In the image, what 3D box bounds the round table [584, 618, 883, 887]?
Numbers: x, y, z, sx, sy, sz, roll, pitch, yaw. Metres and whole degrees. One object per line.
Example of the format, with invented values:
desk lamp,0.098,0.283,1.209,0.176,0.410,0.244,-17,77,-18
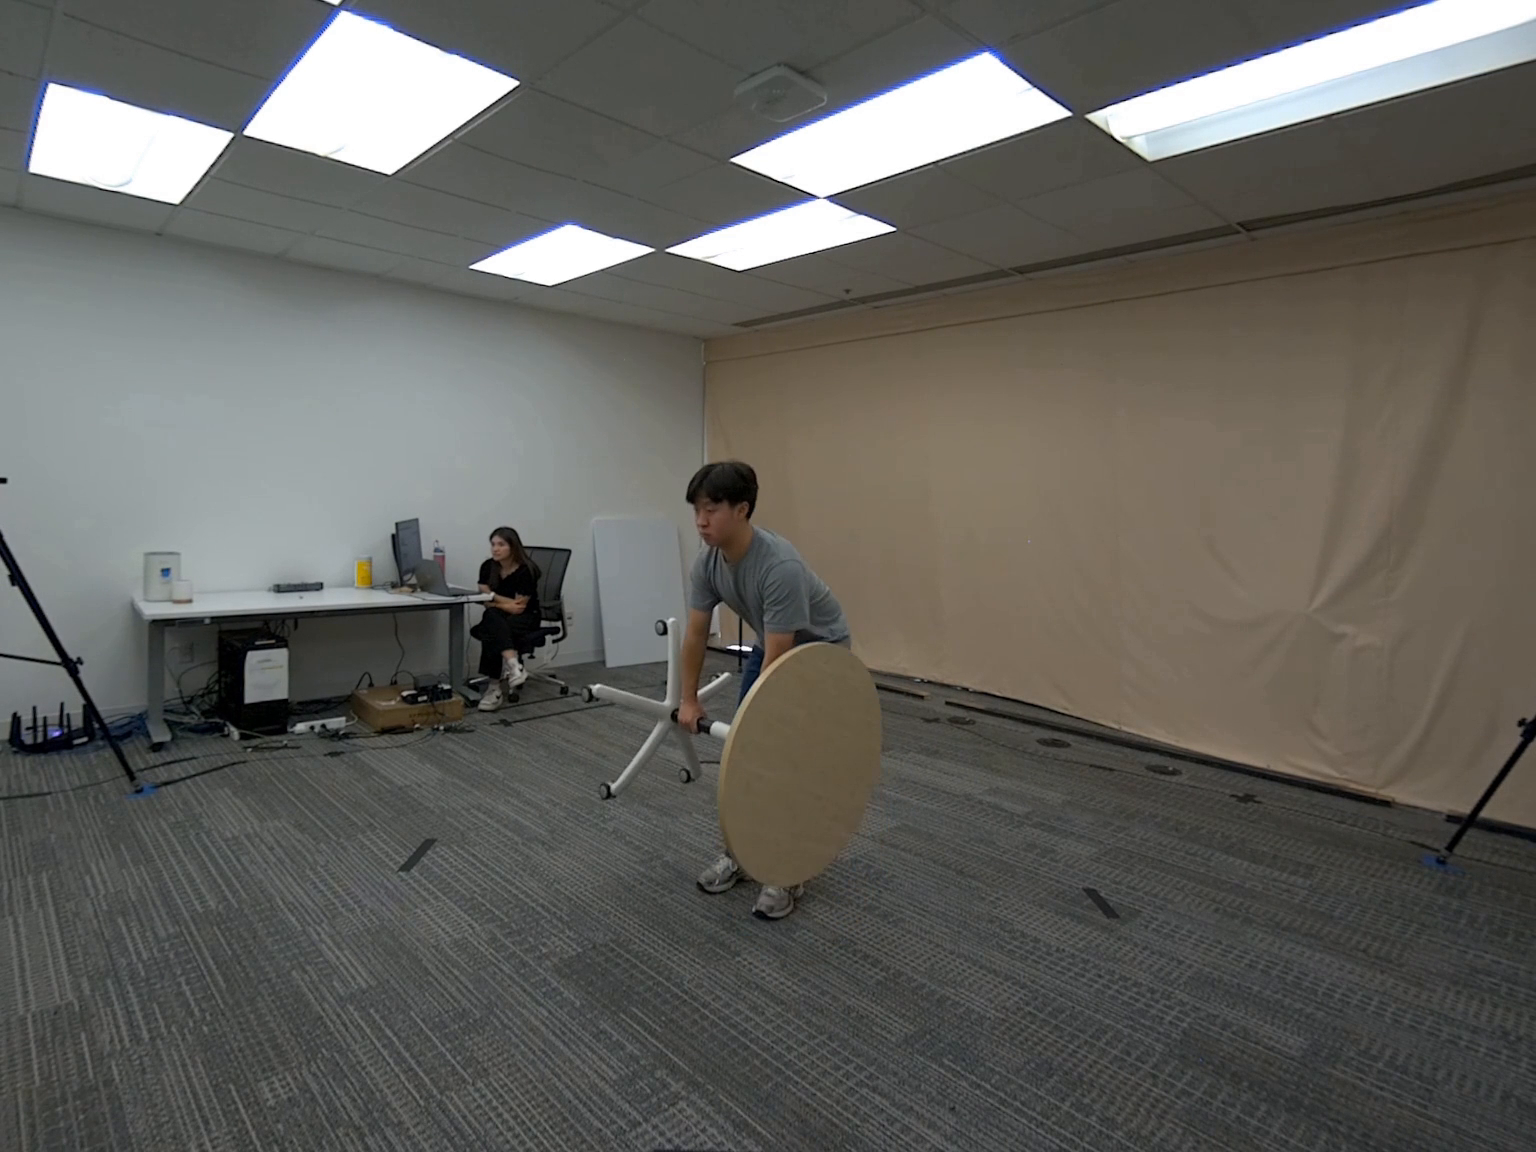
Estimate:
round table,-0.161,0.556,2.926,0.815,0.761,0.747,8,8,44
